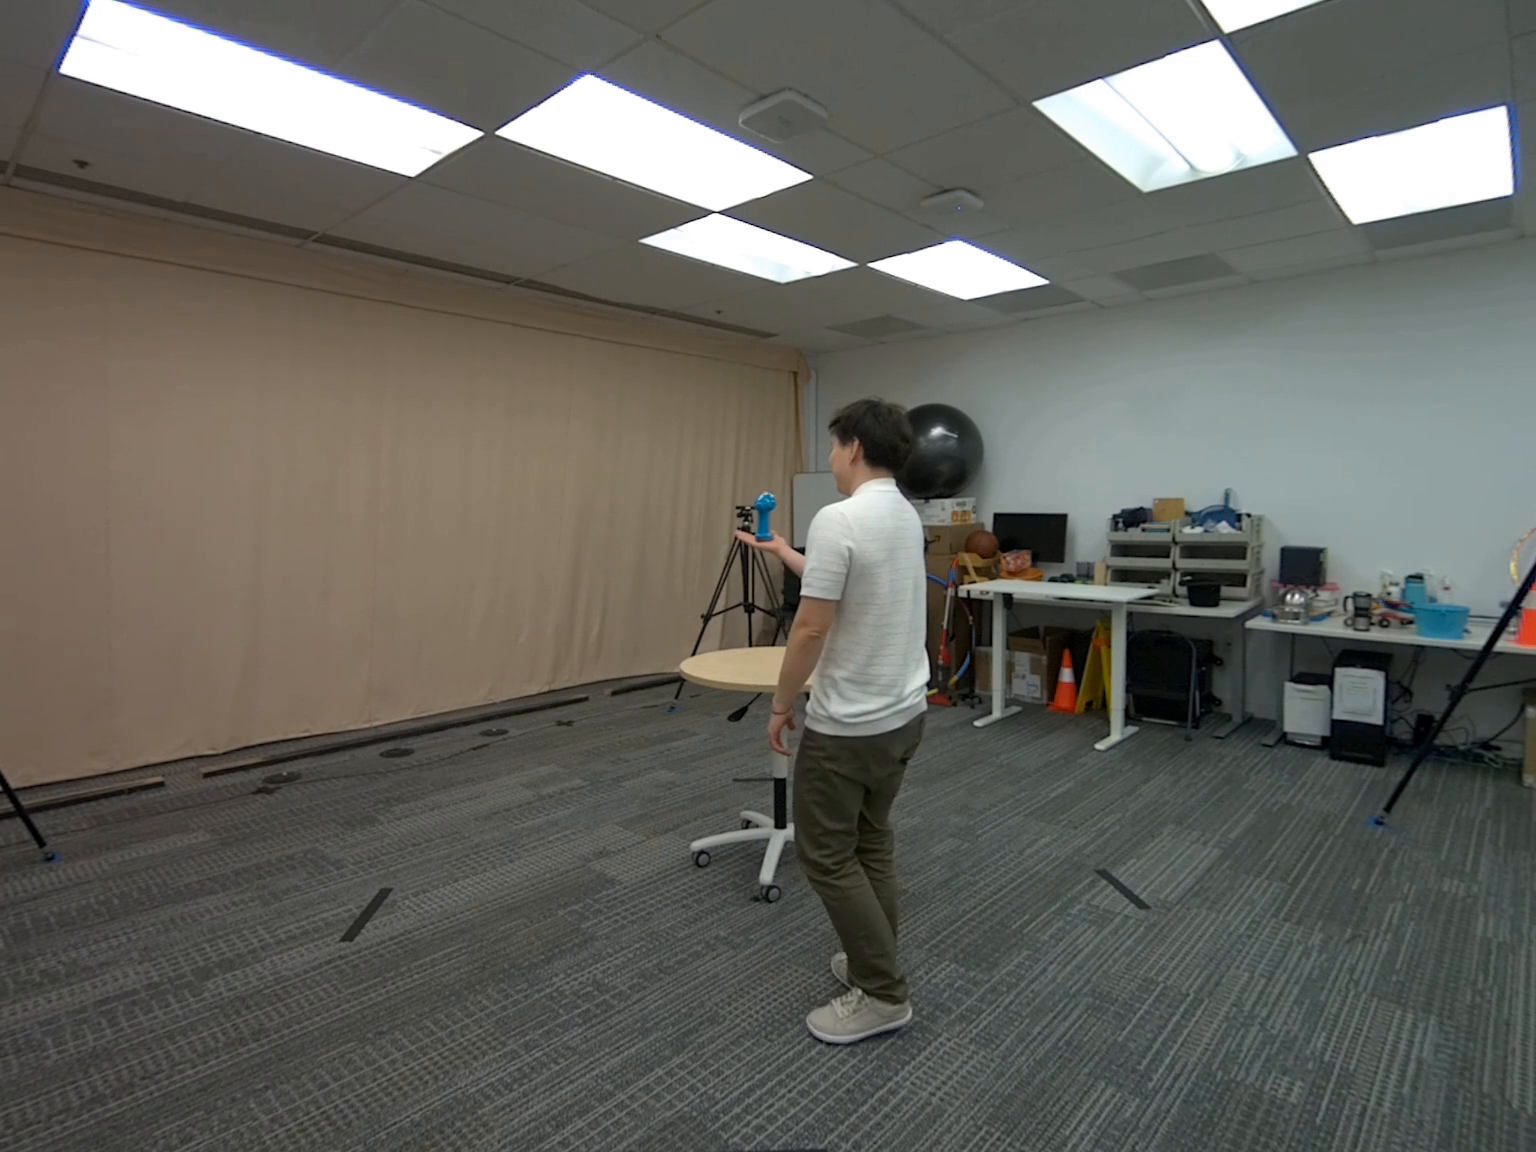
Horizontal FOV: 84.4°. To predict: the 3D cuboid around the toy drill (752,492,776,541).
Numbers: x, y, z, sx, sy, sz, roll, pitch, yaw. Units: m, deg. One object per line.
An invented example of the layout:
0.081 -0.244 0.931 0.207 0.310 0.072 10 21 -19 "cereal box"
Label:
-0.001 -0.191 2.602 0.062 0.145 0.169 2 12 11 "toy drill"
